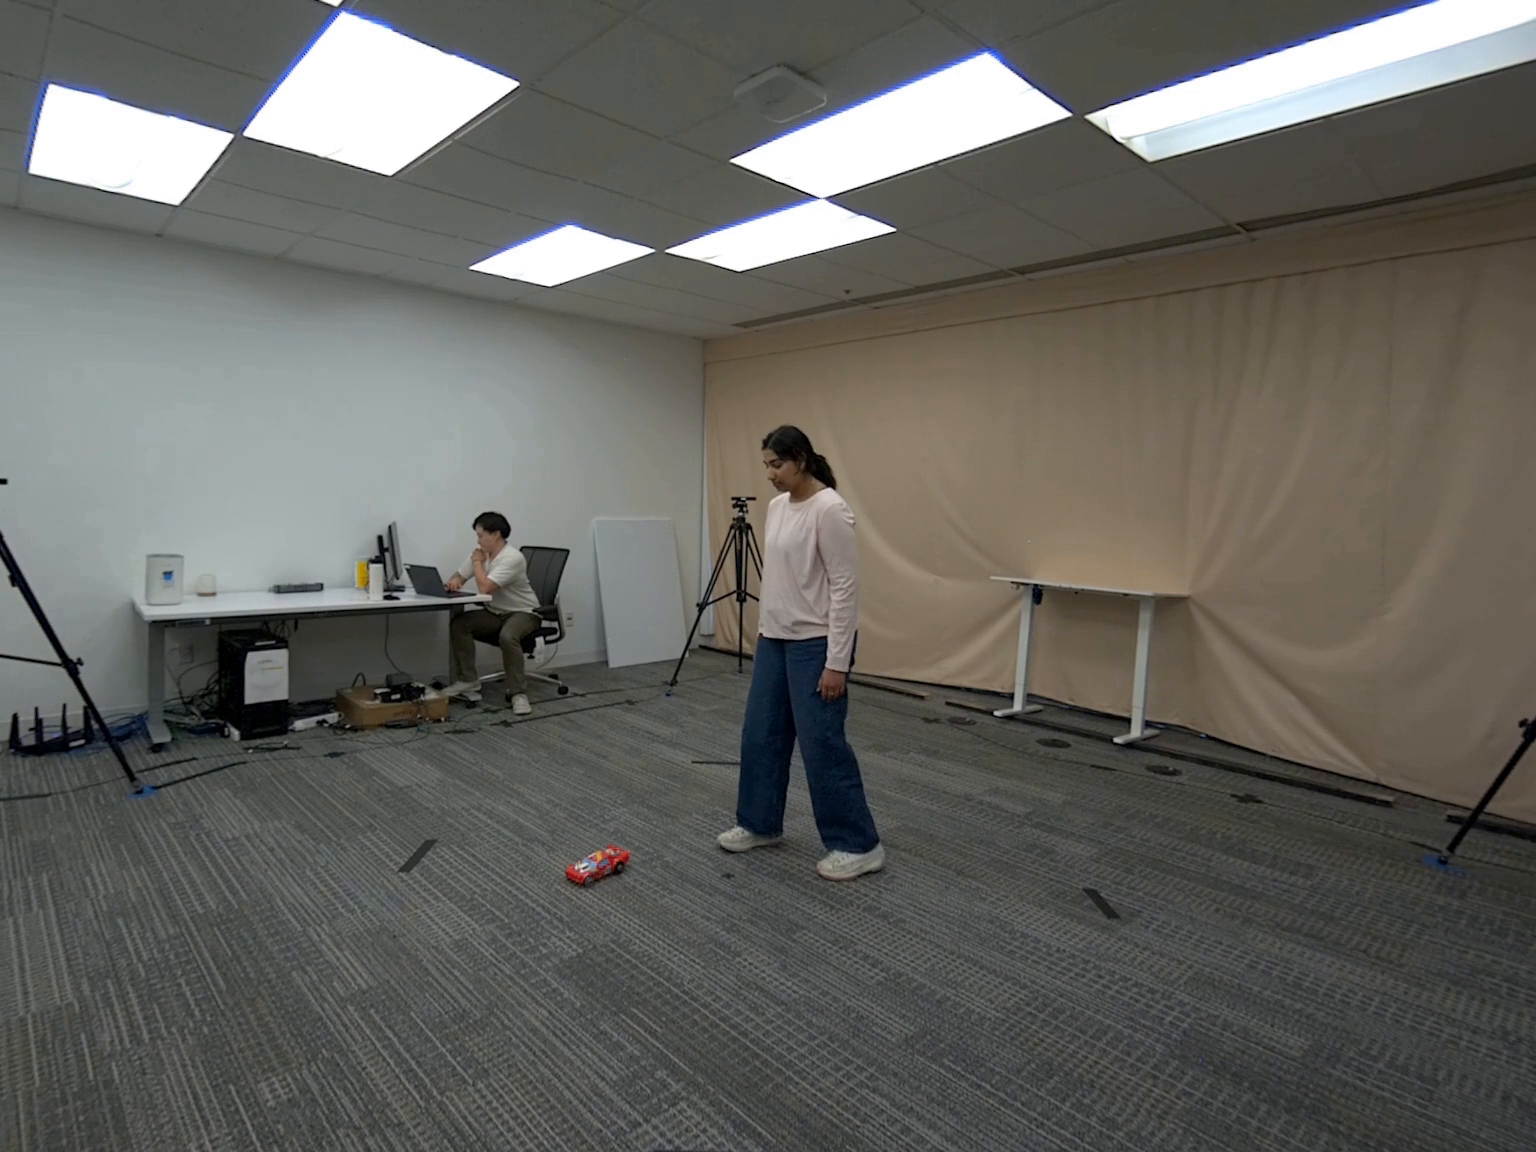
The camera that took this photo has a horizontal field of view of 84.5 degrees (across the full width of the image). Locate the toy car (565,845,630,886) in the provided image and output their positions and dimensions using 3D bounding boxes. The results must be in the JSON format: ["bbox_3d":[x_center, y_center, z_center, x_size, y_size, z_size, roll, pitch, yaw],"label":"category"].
[{"bbox_3d":[-0.629,1.066,3.091,0.133,0.082,0.251,6,17,39],"label":"toy car"}]
